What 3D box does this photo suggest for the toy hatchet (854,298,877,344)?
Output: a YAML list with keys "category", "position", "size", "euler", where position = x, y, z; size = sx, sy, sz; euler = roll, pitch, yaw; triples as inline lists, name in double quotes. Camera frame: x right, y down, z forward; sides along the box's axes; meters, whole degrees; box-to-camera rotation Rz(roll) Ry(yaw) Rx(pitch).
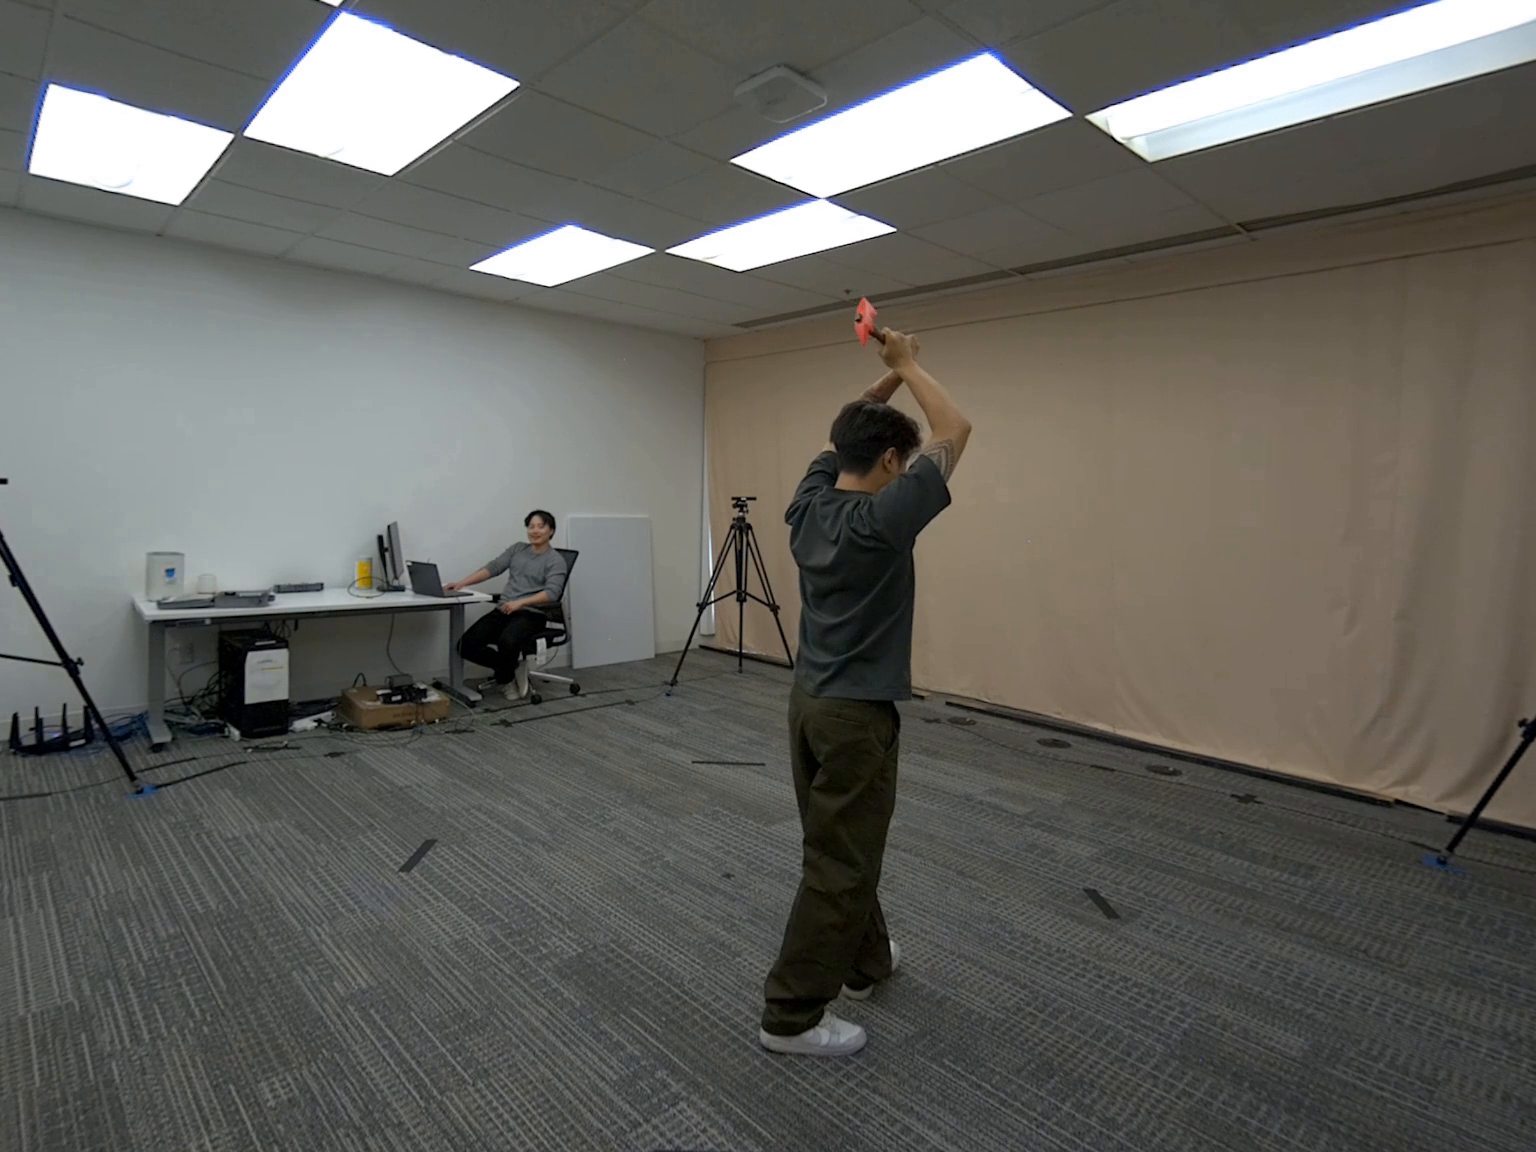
- category: "toy hatchet"
  position: [0.301, -0.641, 2.176]
  size: [0.264, 0.132, 0.030]
  euler: [-8, -6, -45]
